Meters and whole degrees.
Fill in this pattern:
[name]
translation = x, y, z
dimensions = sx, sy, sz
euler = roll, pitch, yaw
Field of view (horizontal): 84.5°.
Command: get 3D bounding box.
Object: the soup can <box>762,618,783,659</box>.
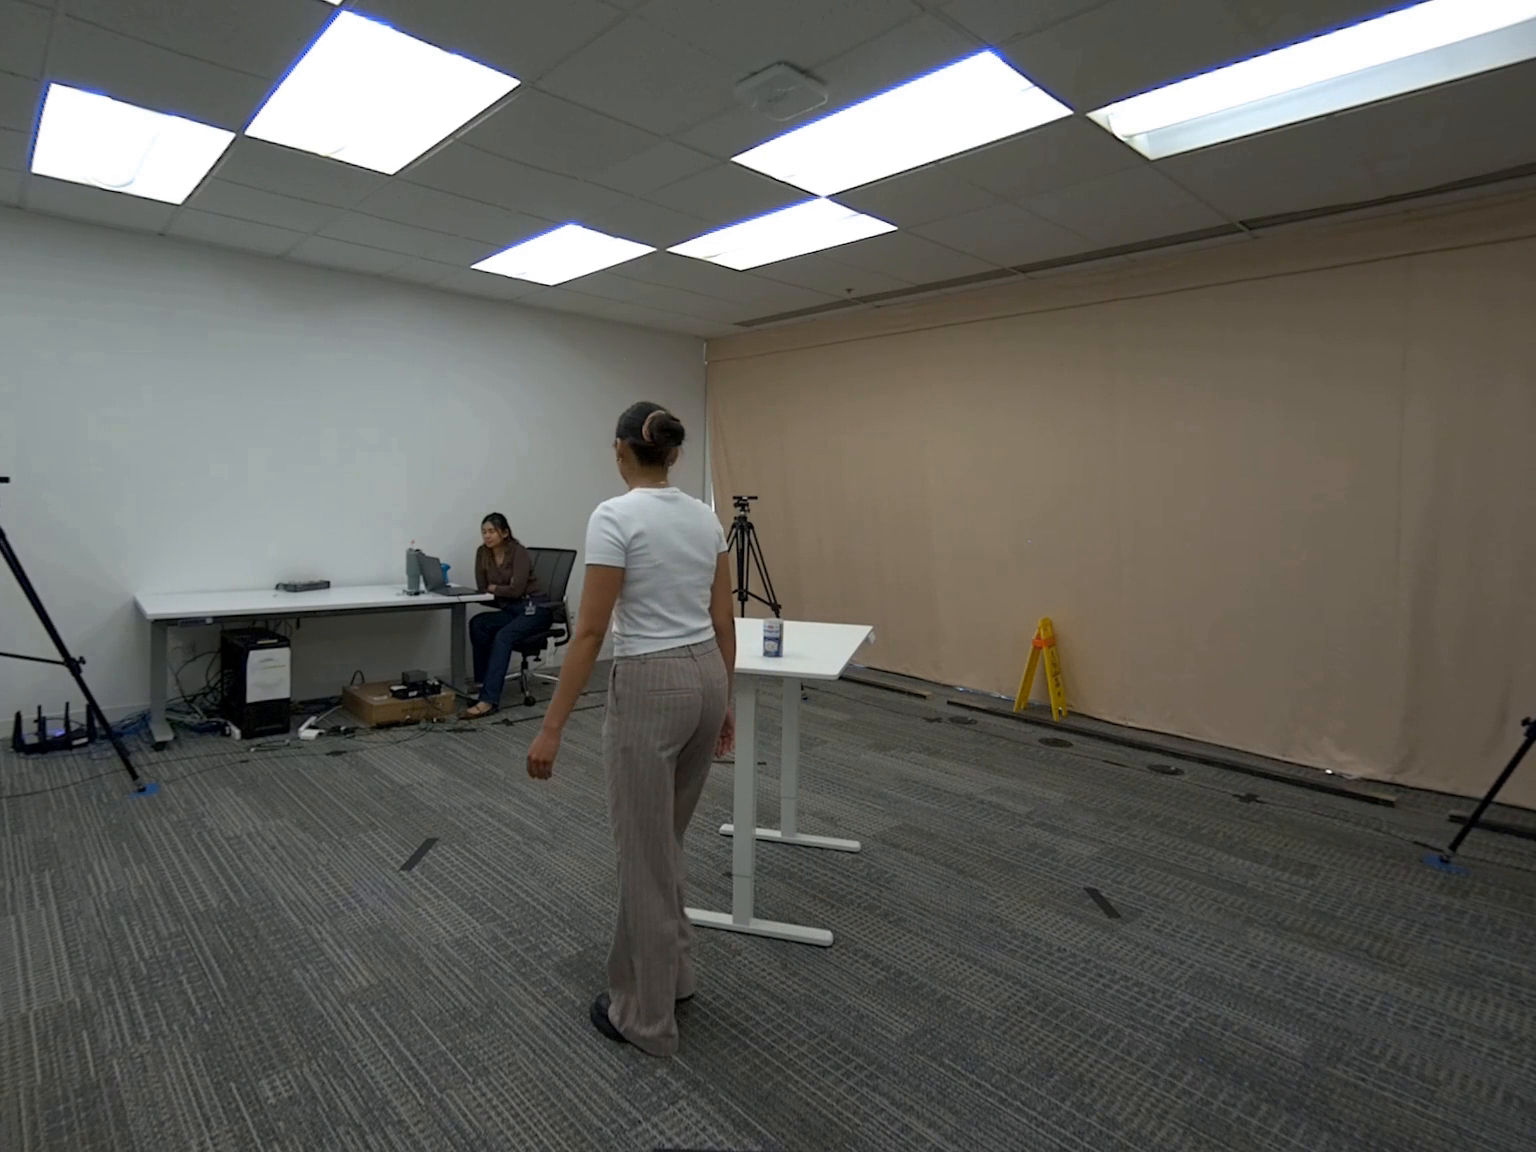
[soup can]
translation = 0.012, 0.205, 2.727
dimensions = 0.067, 0.121, 0.067
euler = 3, 3, -2
